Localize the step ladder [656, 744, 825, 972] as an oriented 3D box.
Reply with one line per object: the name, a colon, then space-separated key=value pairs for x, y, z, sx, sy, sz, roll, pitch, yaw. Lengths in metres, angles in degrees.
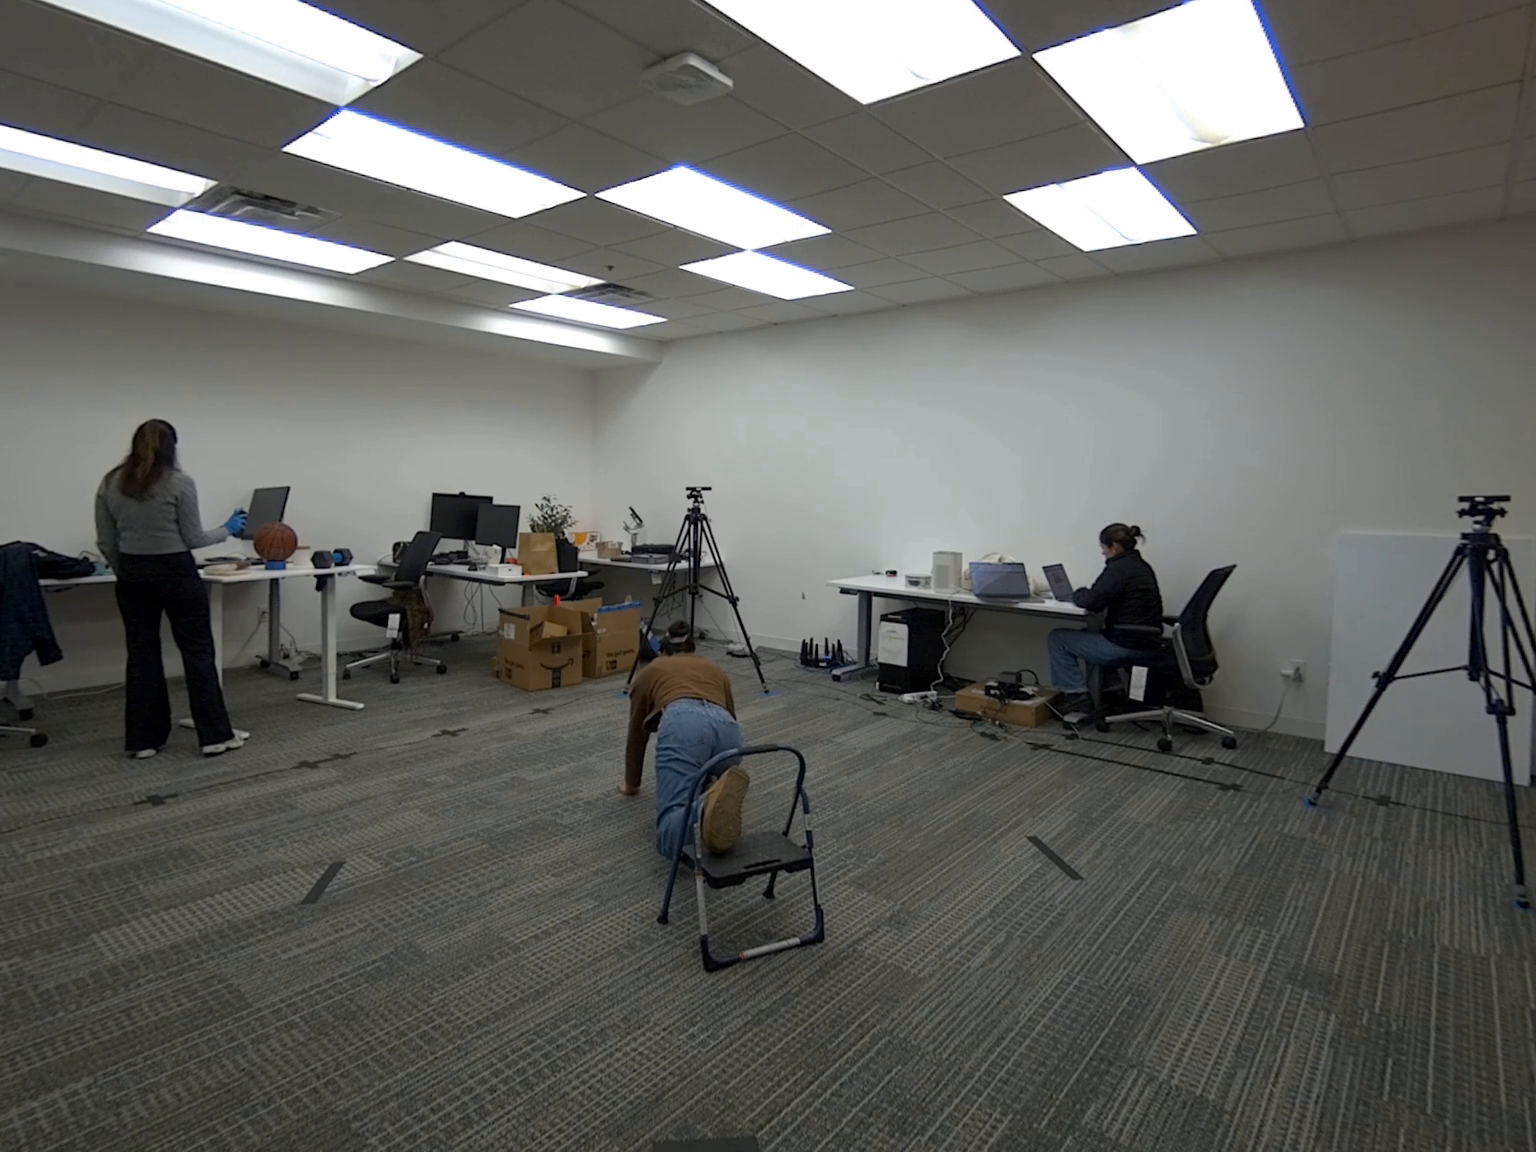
step ladder: x=-0.086 y=0.811 z=2.659 sx=0.419 sy=0.604 sz=0.360 roll=-1 pitch=4 yaw=-30
